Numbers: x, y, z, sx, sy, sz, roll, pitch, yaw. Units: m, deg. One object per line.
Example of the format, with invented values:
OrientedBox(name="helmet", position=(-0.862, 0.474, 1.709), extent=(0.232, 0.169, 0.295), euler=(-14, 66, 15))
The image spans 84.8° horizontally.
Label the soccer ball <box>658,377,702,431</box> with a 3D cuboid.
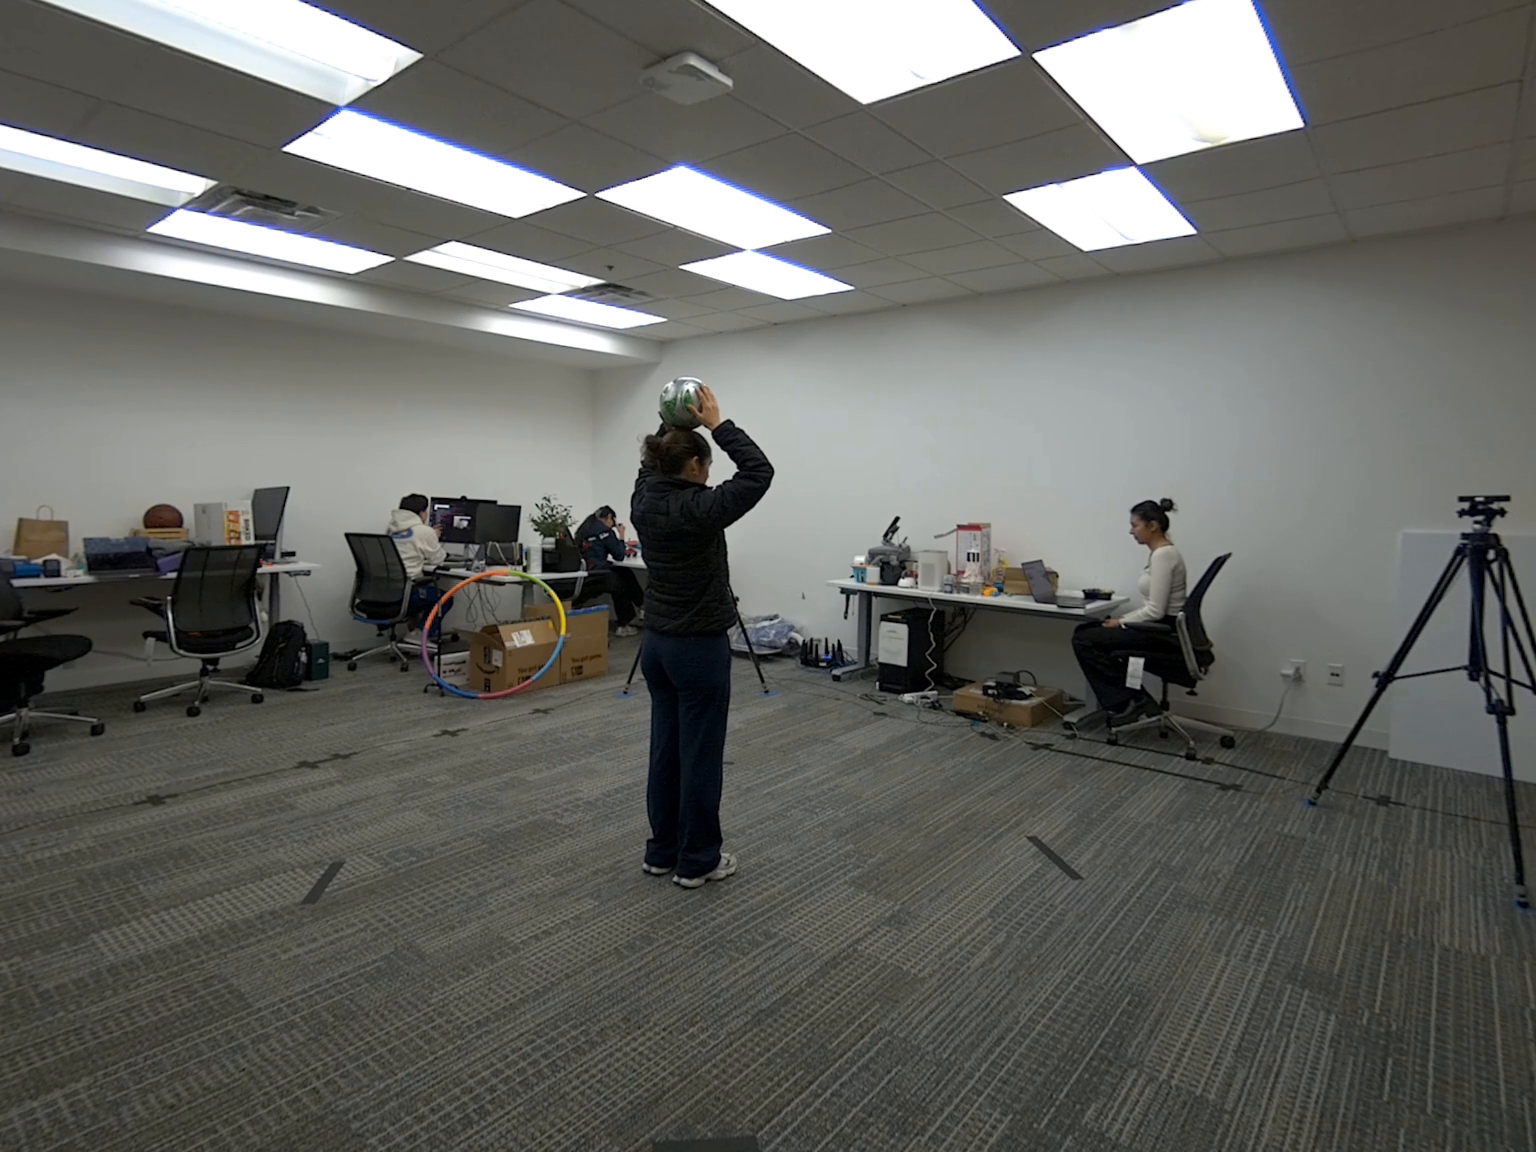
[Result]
OrientedBox(name="soccer ball", position=(-0.296, -0.611, 3.007), extent=(0.187, 0.187, 0.188), euler=(1, 4, -2))
